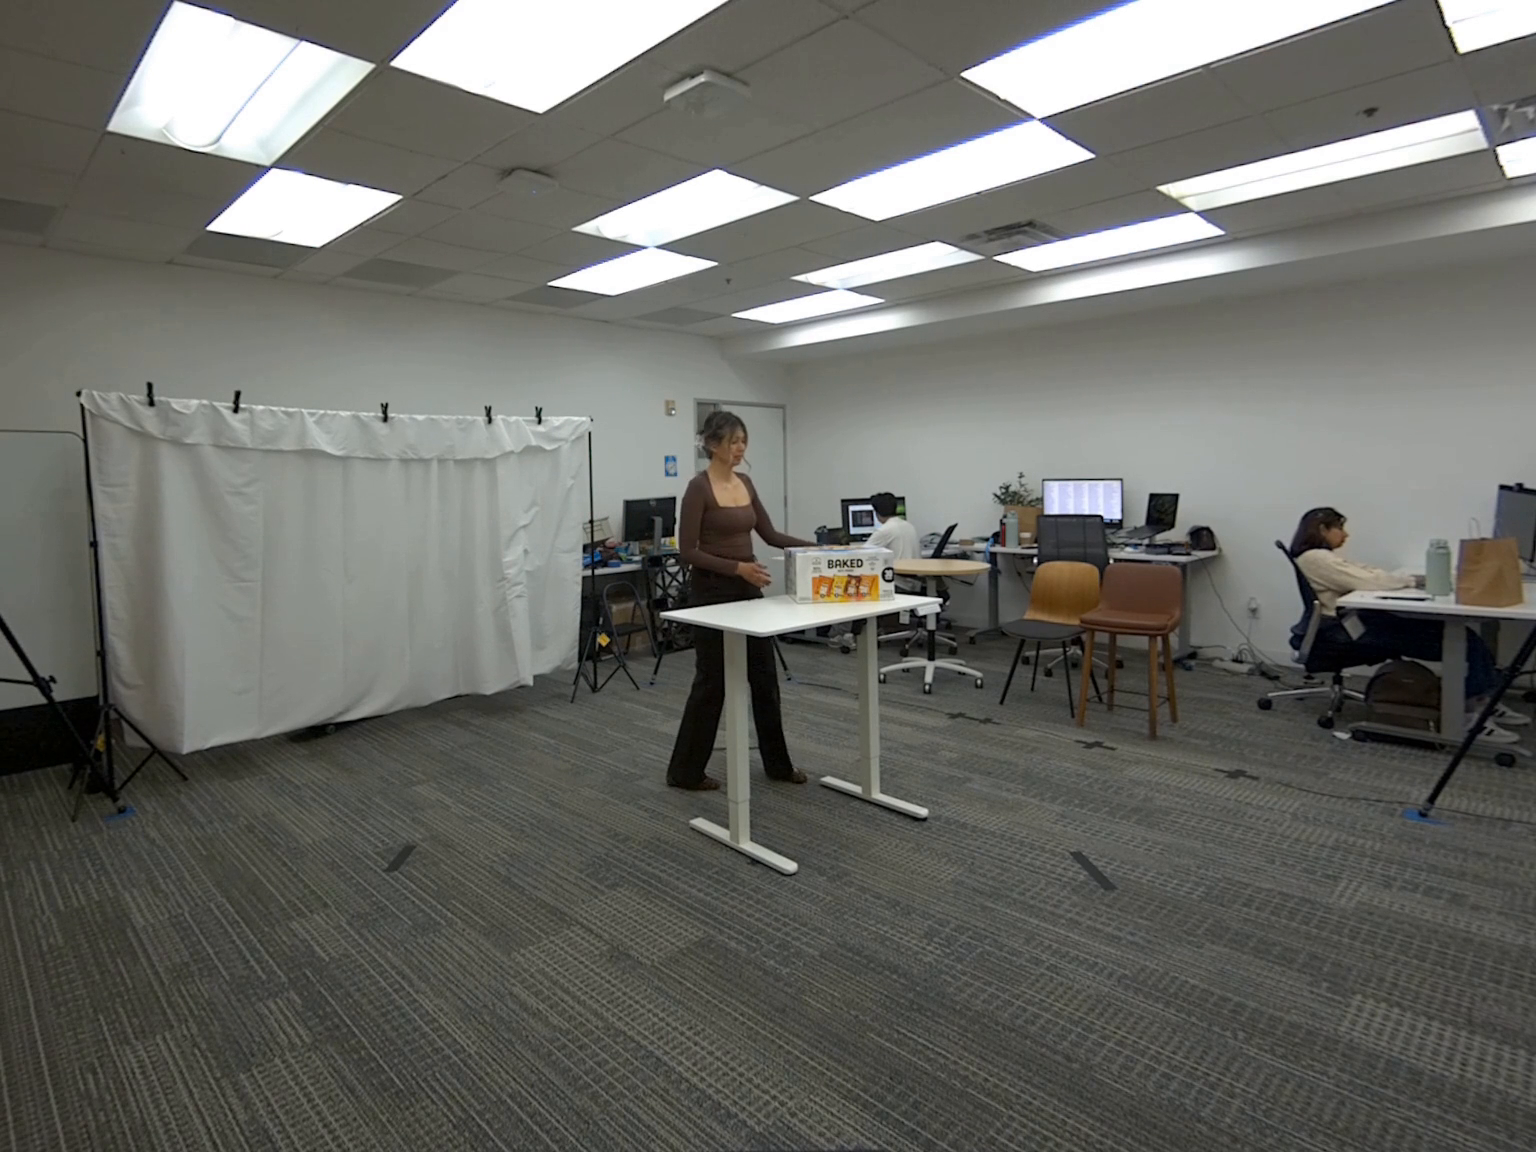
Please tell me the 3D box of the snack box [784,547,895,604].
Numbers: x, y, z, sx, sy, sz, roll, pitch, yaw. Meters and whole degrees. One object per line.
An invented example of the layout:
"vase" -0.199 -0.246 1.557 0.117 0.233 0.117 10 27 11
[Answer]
"snack box" 0.301 -0.011 3.643 0.403 0.205 0.343 -2 5 -5
